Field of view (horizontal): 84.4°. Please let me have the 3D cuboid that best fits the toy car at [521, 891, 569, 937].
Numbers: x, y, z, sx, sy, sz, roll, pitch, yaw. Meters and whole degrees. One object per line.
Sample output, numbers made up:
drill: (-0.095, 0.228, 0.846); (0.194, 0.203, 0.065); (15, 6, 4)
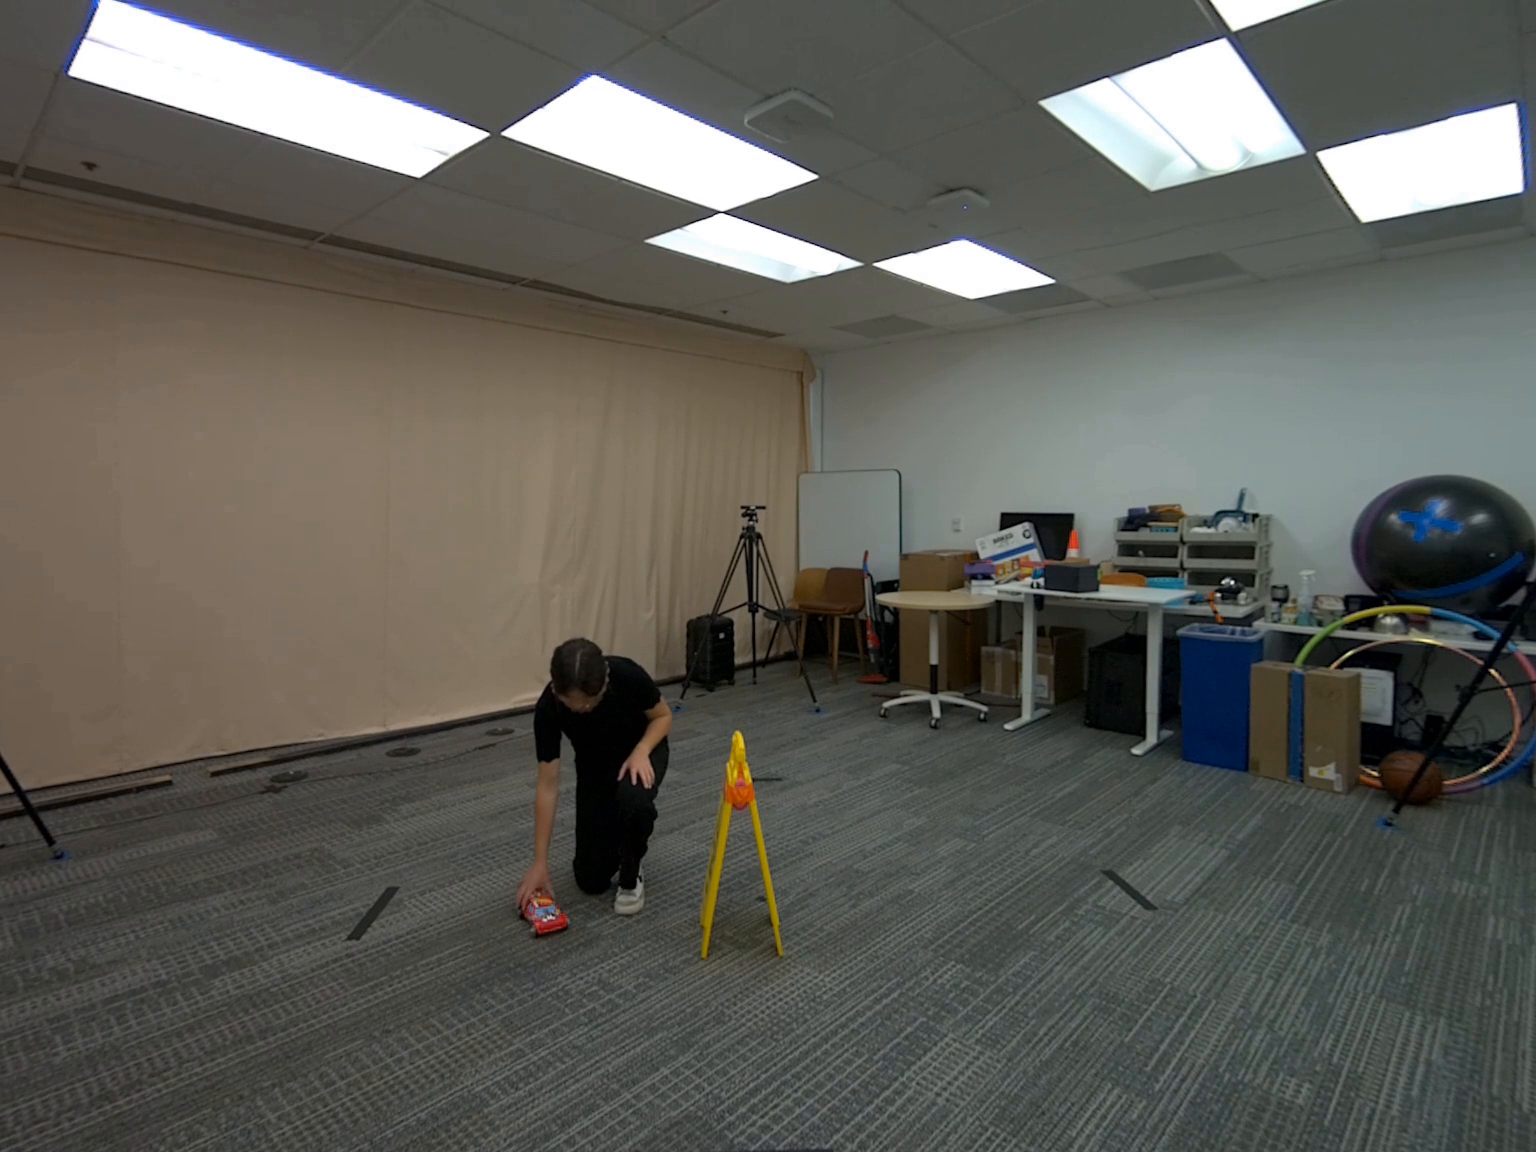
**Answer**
toy car: (-0.762, 1.129, 2.842); (0.127, 0.083, 0.263); (-3, 13, -32)
